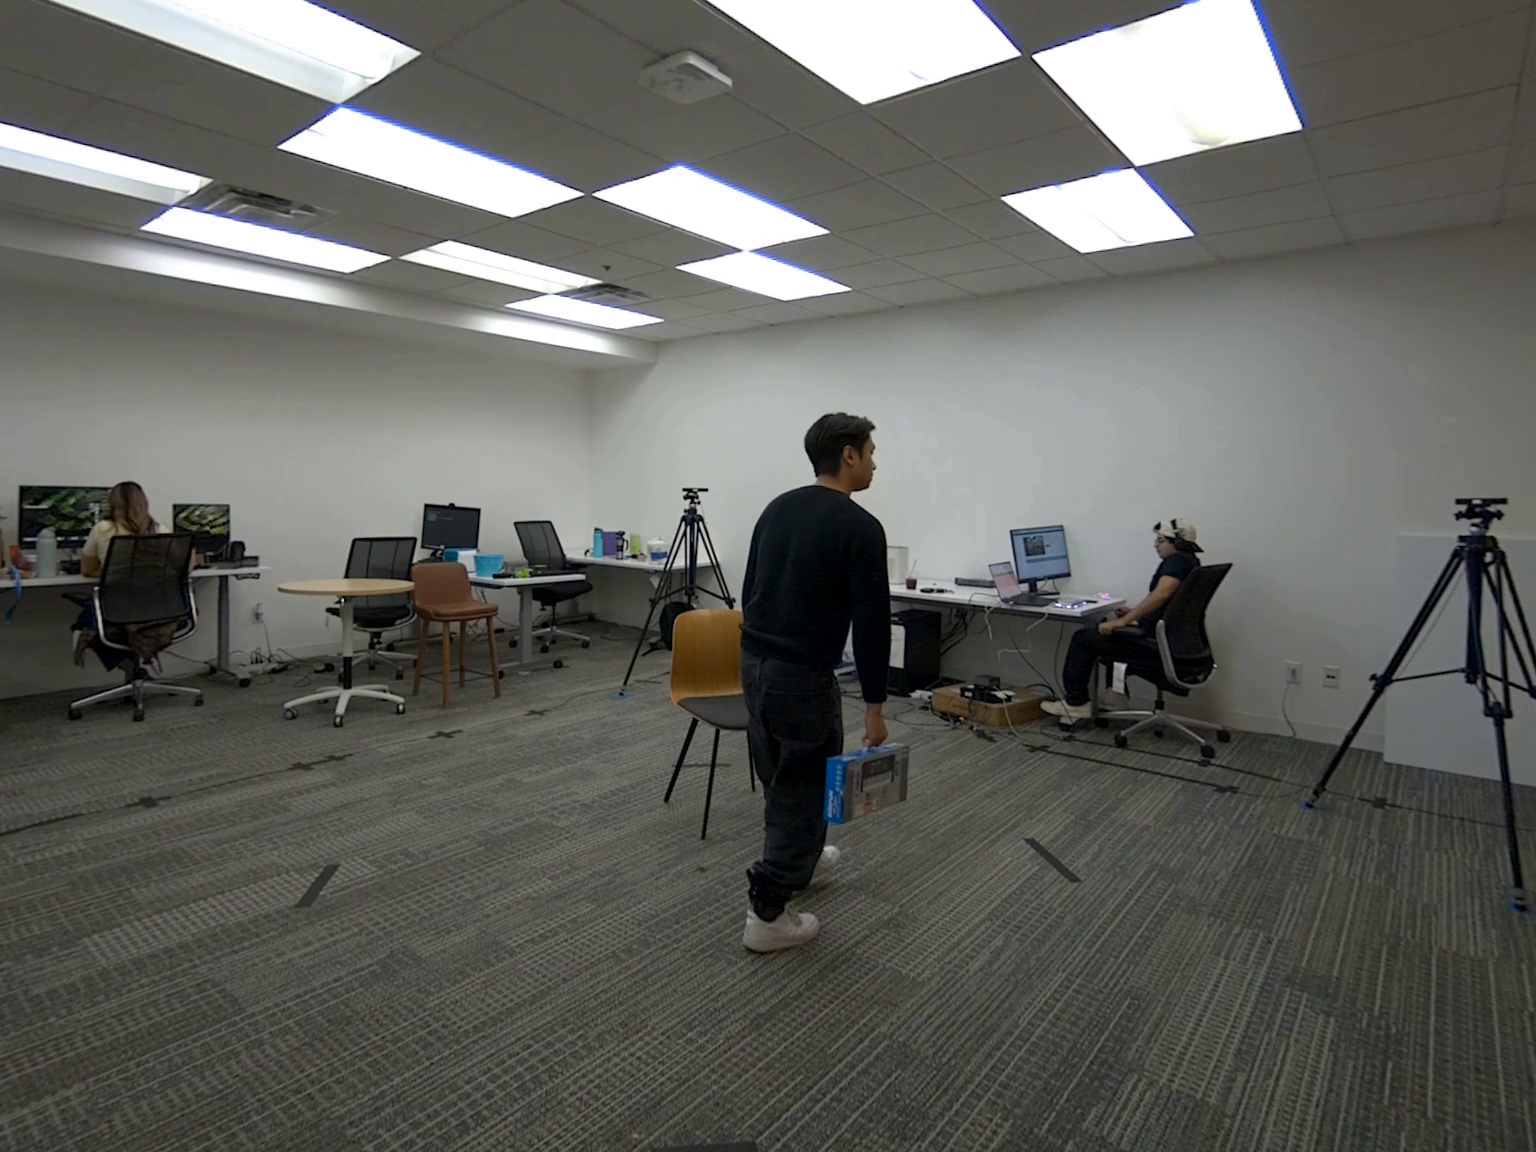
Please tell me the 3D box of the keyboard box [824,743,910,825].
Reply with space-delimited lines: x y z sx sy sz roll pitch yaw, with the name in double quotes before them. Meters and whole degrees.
"keyboard box" 0.294 0.605 2.523 0.061 0.176 0.422 1 -3 34
